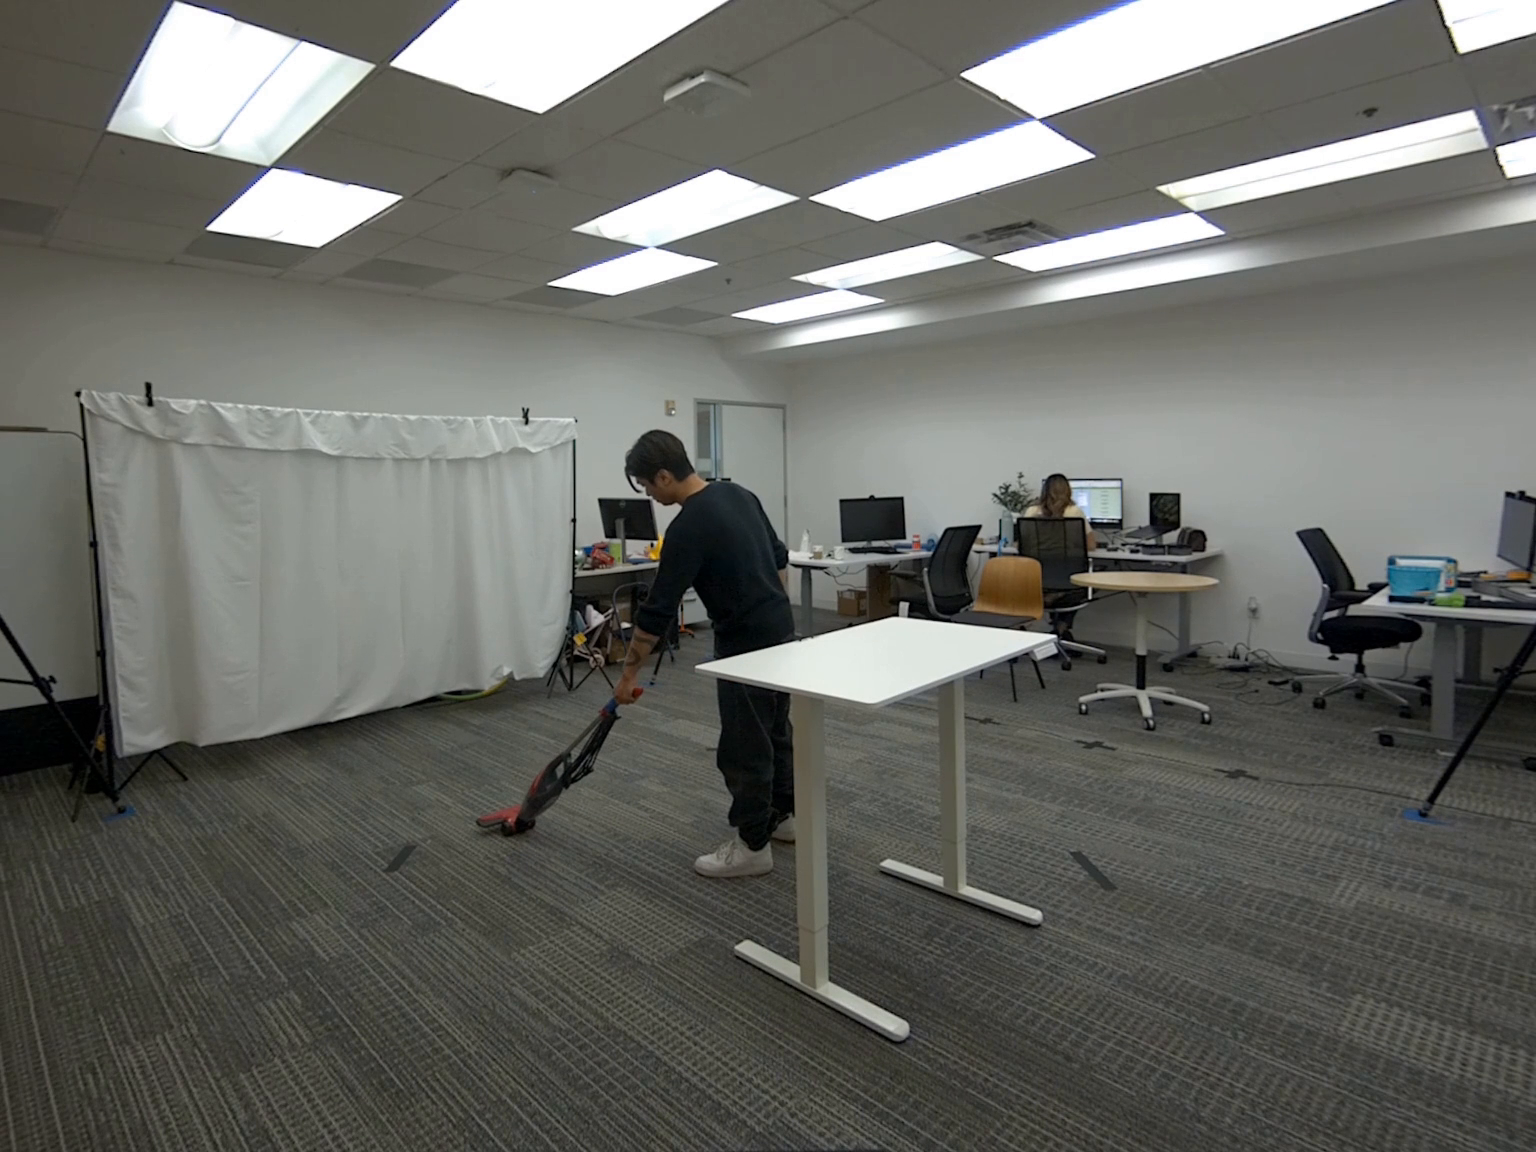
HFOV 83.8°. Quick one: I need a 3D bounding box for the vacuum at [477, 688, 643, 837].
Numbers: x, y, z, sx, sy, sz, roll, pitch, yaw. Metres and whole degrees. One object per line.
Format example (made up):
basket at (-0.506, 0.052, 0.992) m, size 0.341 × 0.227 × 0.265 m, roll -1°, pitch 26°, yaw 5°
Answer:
vacuum at (-0.733, 0.703, 3.163) m, size 0.247 × 0.147 × 1.050 m, roll -14°, pitch -24°, yaw -51°
